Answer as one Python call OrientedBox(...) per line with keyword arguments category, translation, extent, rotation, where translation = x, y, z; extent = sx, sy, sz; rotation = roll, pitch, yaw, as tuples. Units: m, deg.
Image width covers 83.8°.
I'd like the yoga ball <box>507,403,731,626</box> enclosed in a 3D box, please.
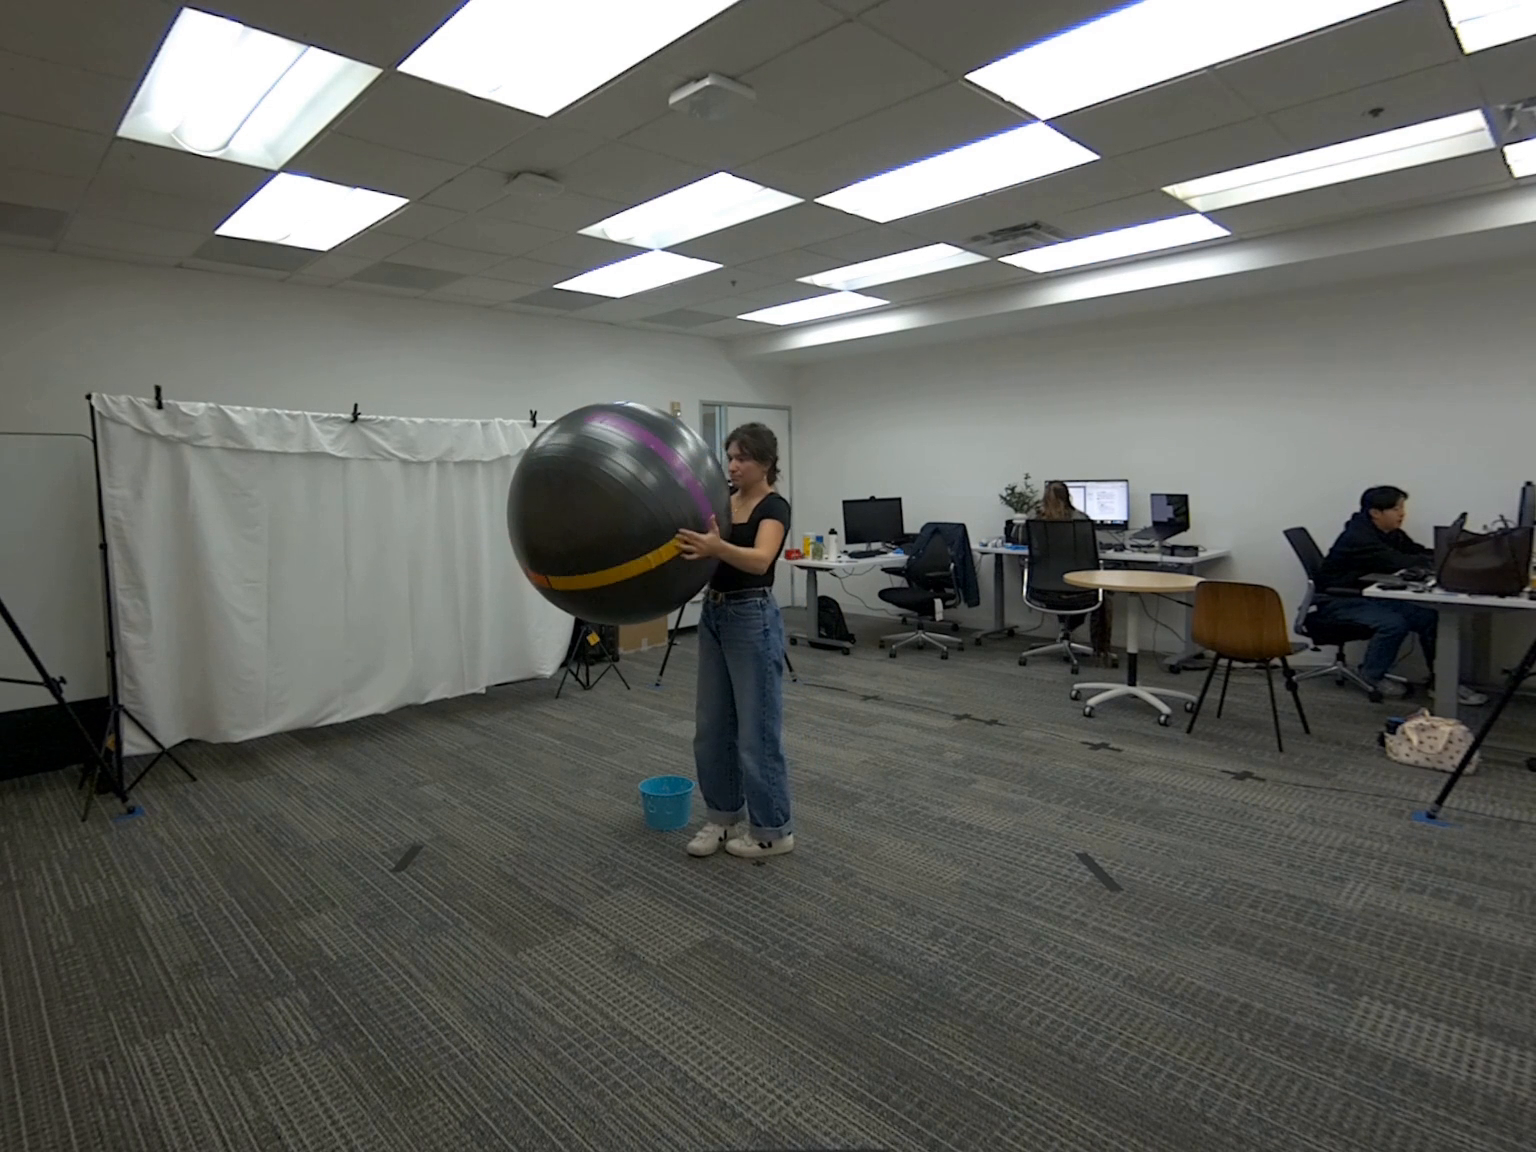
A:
OrientedBox(category="yoga ball", translation=(-0.509, -0.203, 2.920), extent=(0.757, 0.755, 0.762), rotation=(-1, 5, -2))
